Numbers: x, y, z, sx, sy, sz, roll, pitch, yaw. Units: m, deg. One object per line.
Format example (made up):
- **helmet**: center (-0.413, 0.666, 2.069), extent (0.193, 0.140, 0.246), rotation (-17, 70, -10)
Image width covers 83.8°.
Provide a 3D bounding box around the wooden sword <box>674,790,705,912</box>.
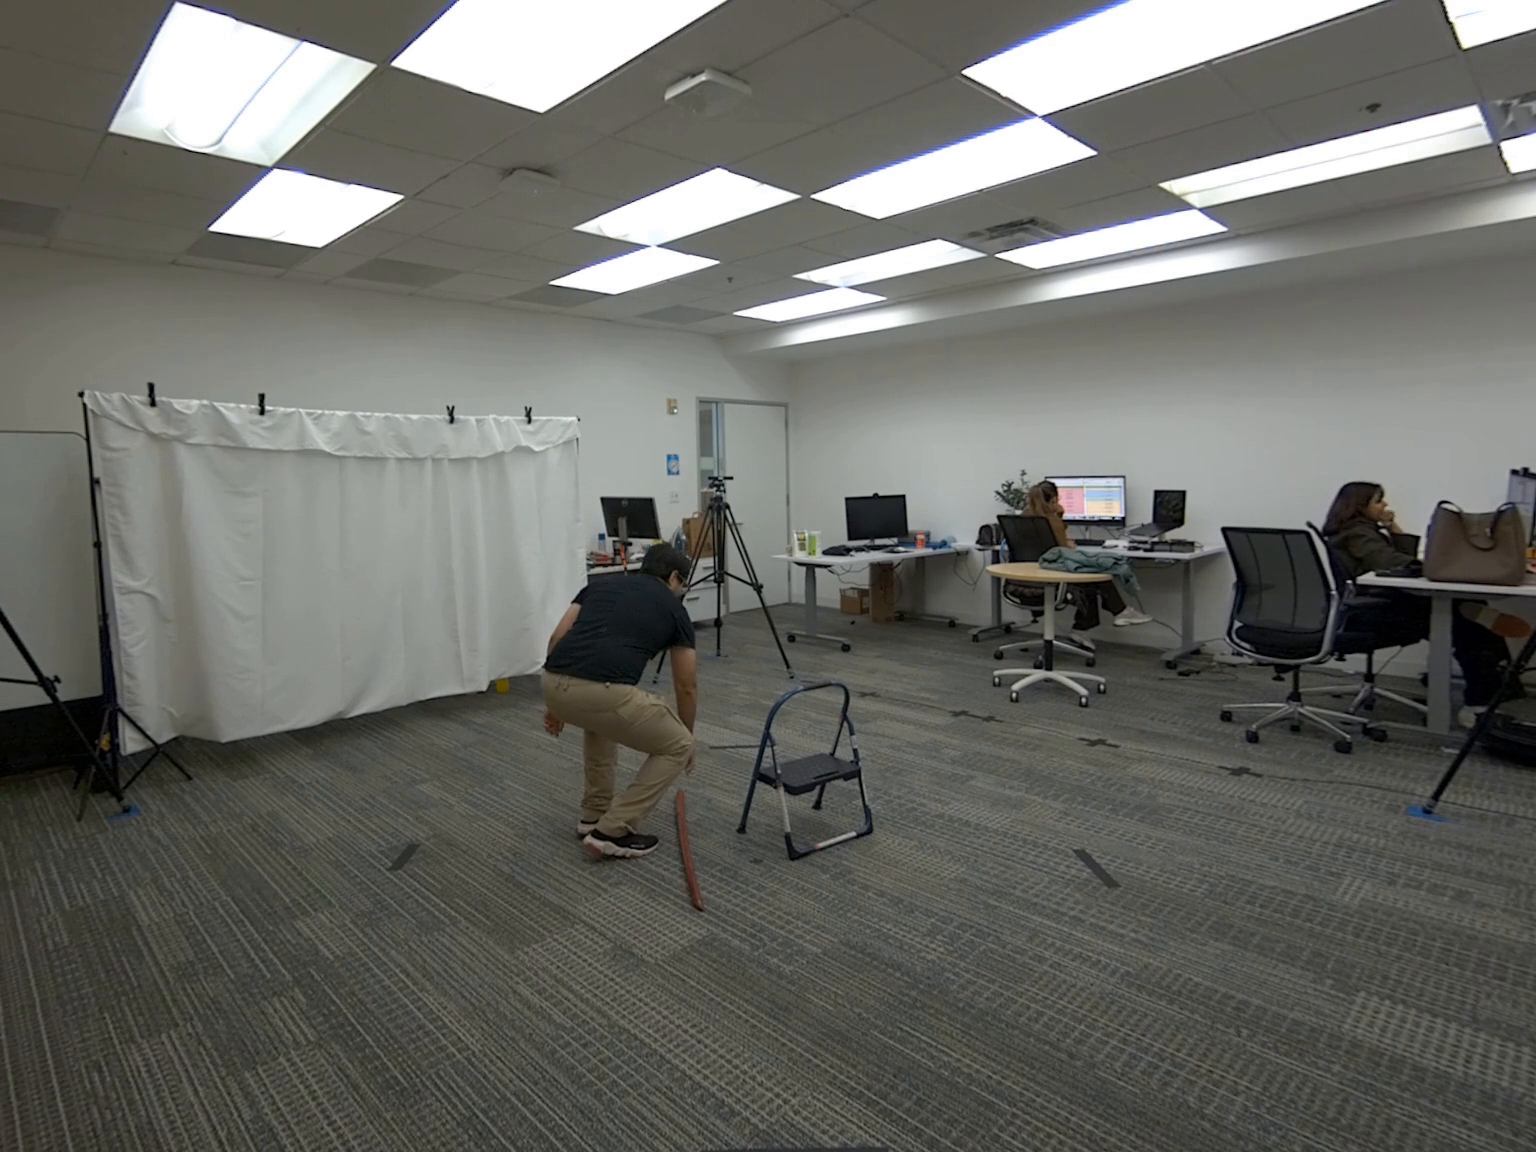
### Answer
- **wooden sword**: center (-0.309, 0.994, 3.261), extent (0.051, 0.024, 1.038), rotation (-12, 9, -7)
